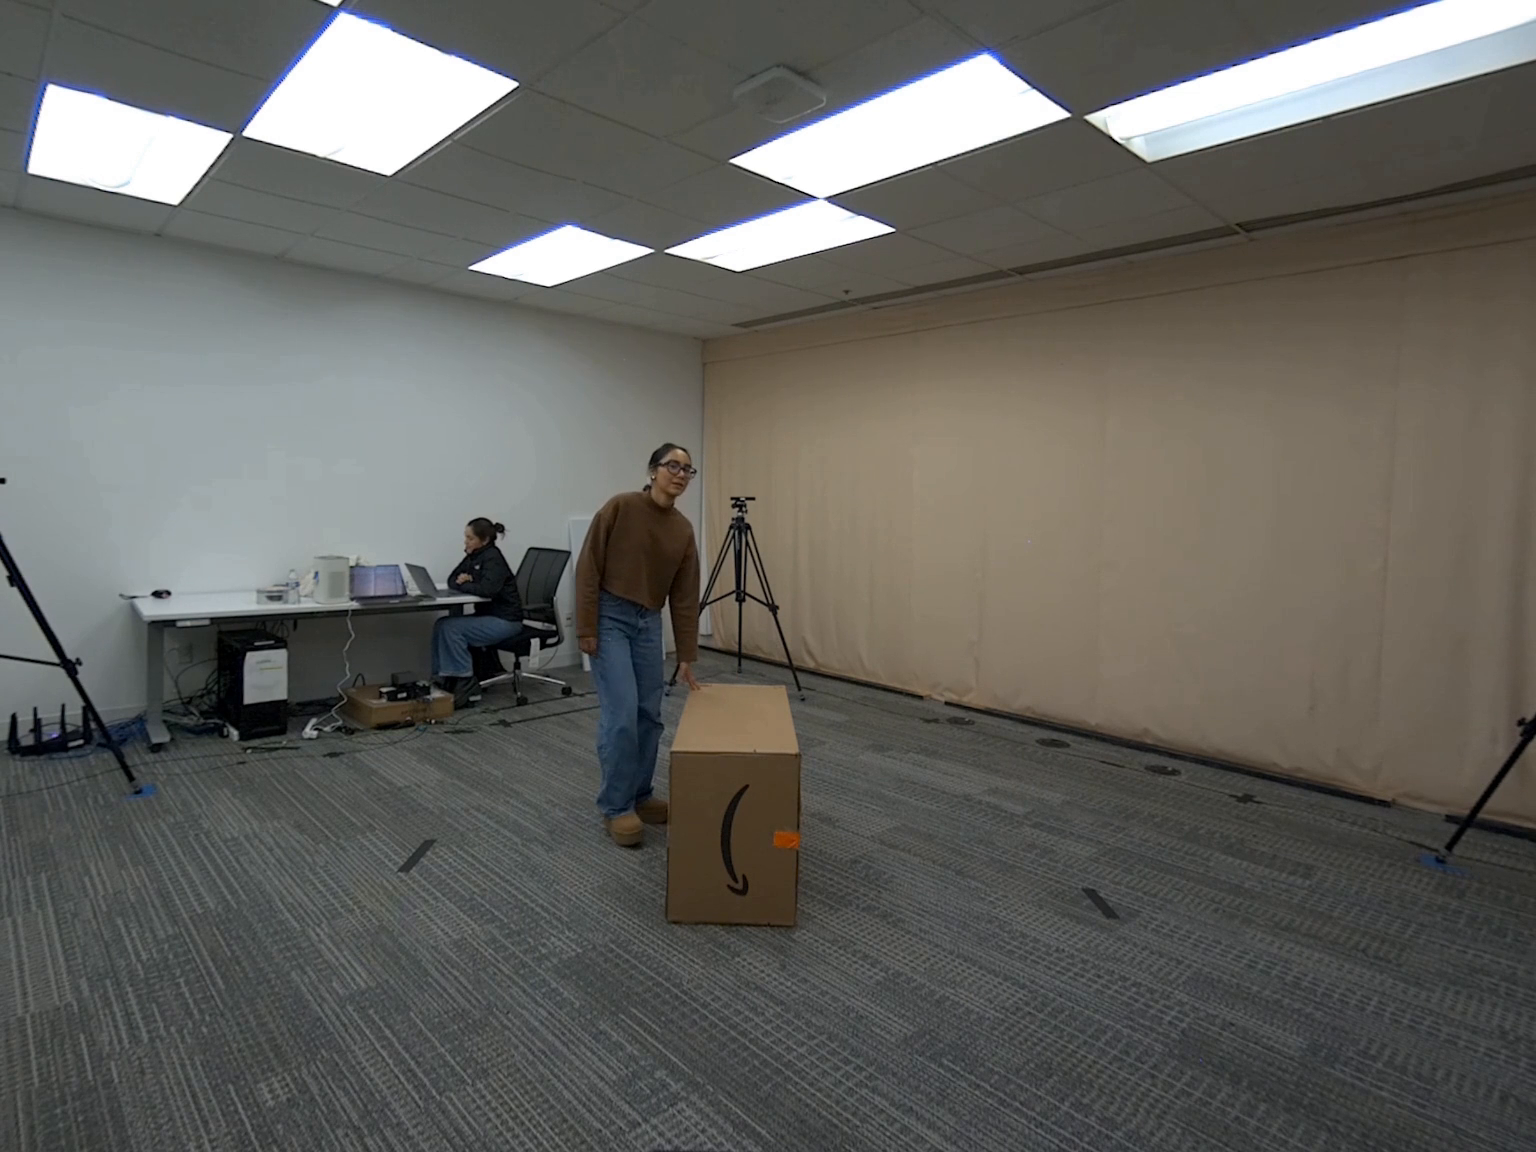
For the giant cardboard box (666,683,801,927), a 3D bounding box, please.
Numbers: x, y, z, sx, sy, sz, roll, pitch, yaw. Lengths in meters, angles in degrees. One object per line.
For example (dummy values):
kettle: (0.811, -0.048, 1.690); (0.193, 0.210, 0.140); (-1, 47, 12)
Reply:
giant cardboard box: (-0.126, 0.810, 3.230); (0.447, 0.582, 1.029); (0, 5, 0)
